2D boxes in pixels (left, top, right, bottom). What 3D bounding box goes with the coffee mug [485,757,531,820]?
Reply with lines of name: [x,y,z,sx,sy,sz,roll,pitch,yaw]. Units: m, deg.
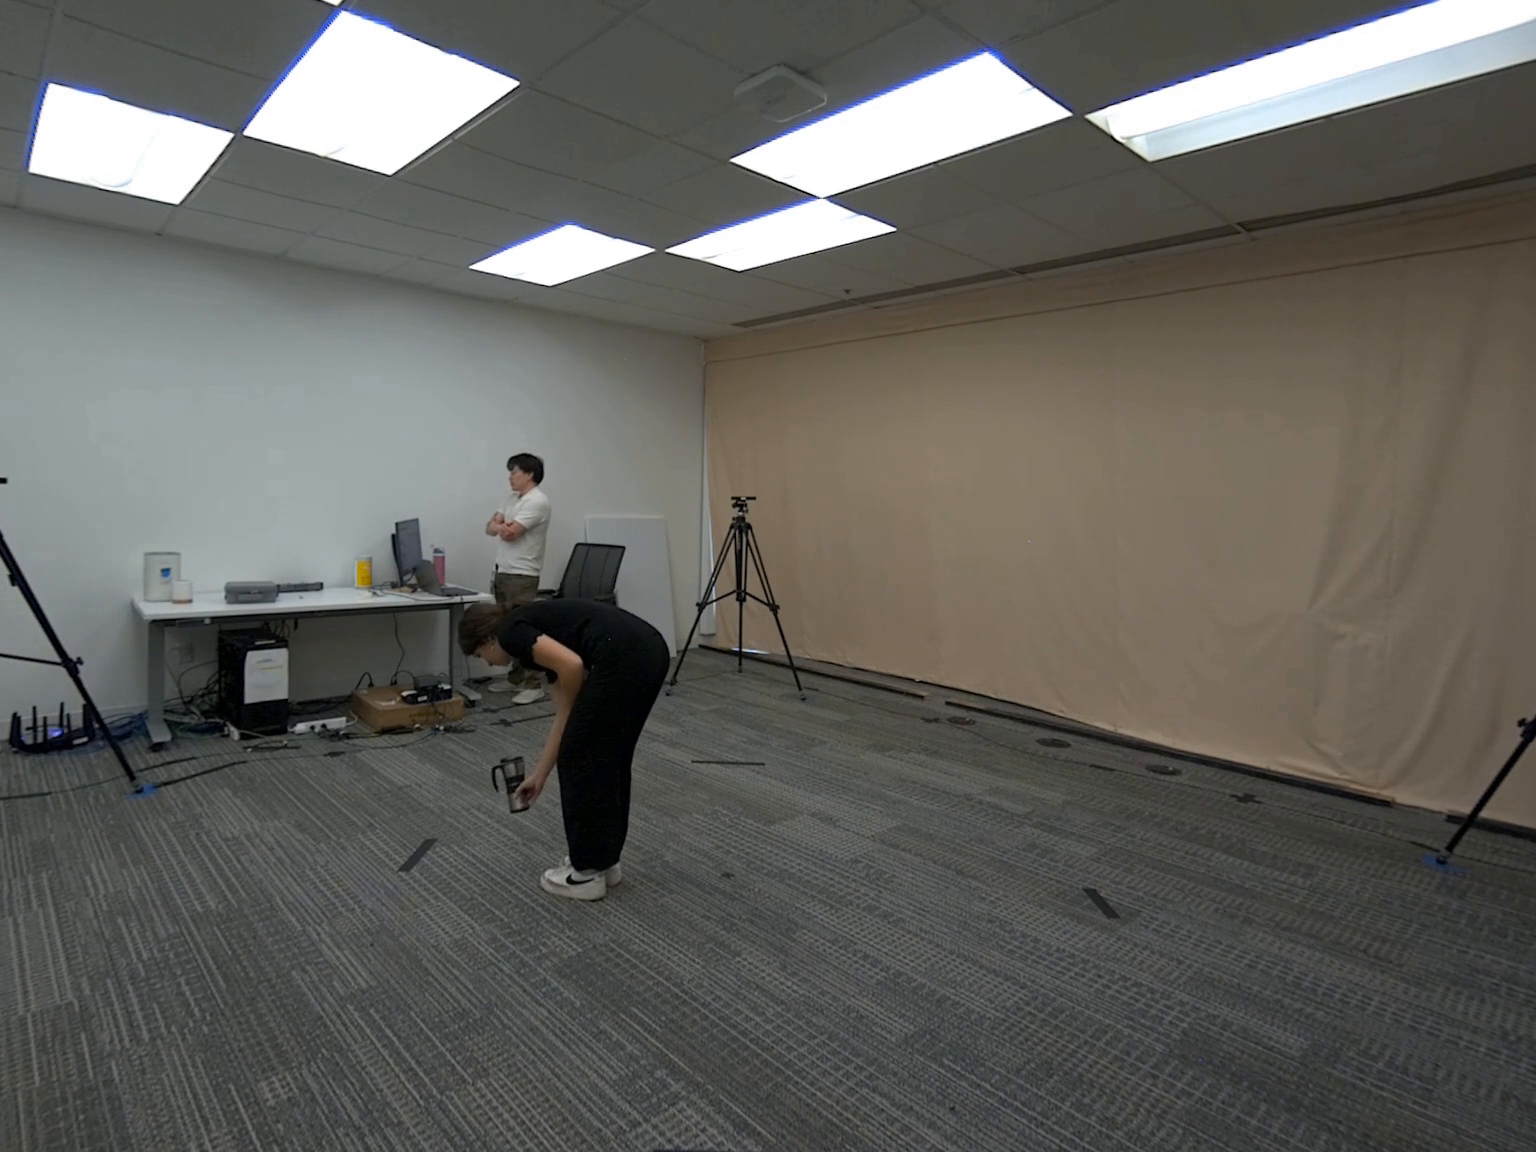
coffee mug: [-0.973,0.790,3.160,0.119,0.205,0.089,2,-15,-43]
